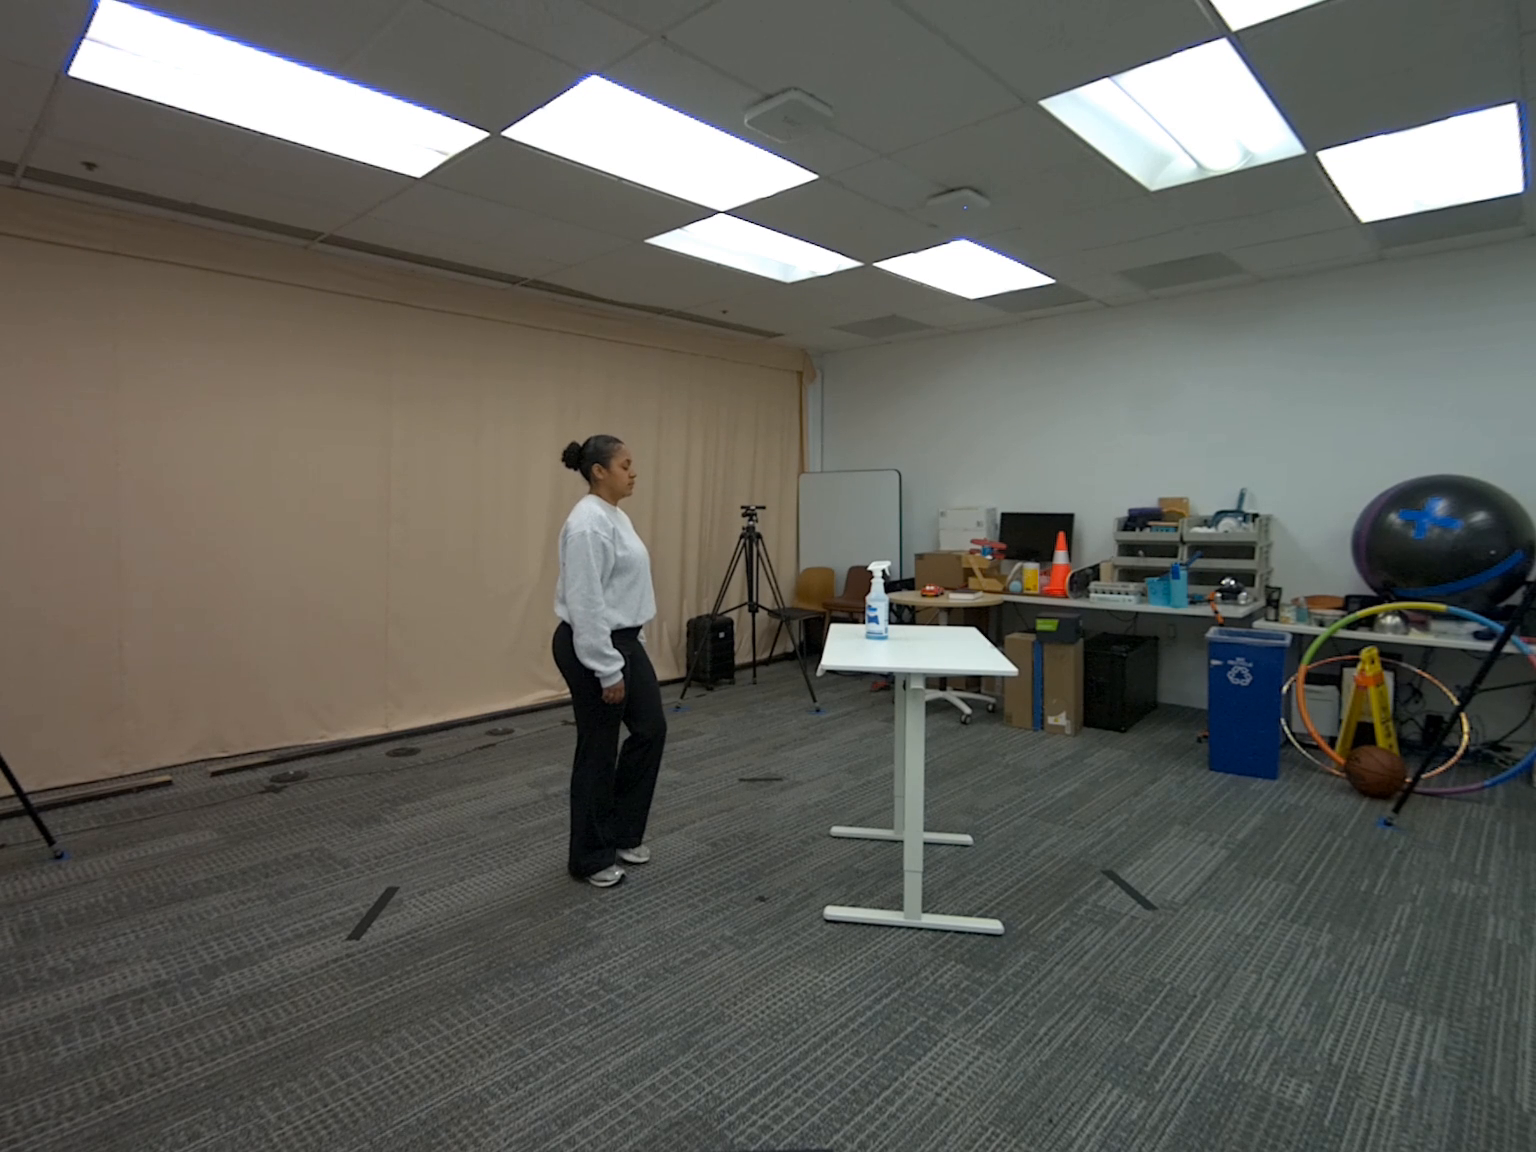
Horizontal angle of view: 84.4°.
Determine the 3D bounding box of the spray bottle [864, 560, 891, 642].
[{"bbox_3d":[0.424,0.096,3.221,0.091,0.297,0.086,1,2,10],"label":"spray bottle"}]
